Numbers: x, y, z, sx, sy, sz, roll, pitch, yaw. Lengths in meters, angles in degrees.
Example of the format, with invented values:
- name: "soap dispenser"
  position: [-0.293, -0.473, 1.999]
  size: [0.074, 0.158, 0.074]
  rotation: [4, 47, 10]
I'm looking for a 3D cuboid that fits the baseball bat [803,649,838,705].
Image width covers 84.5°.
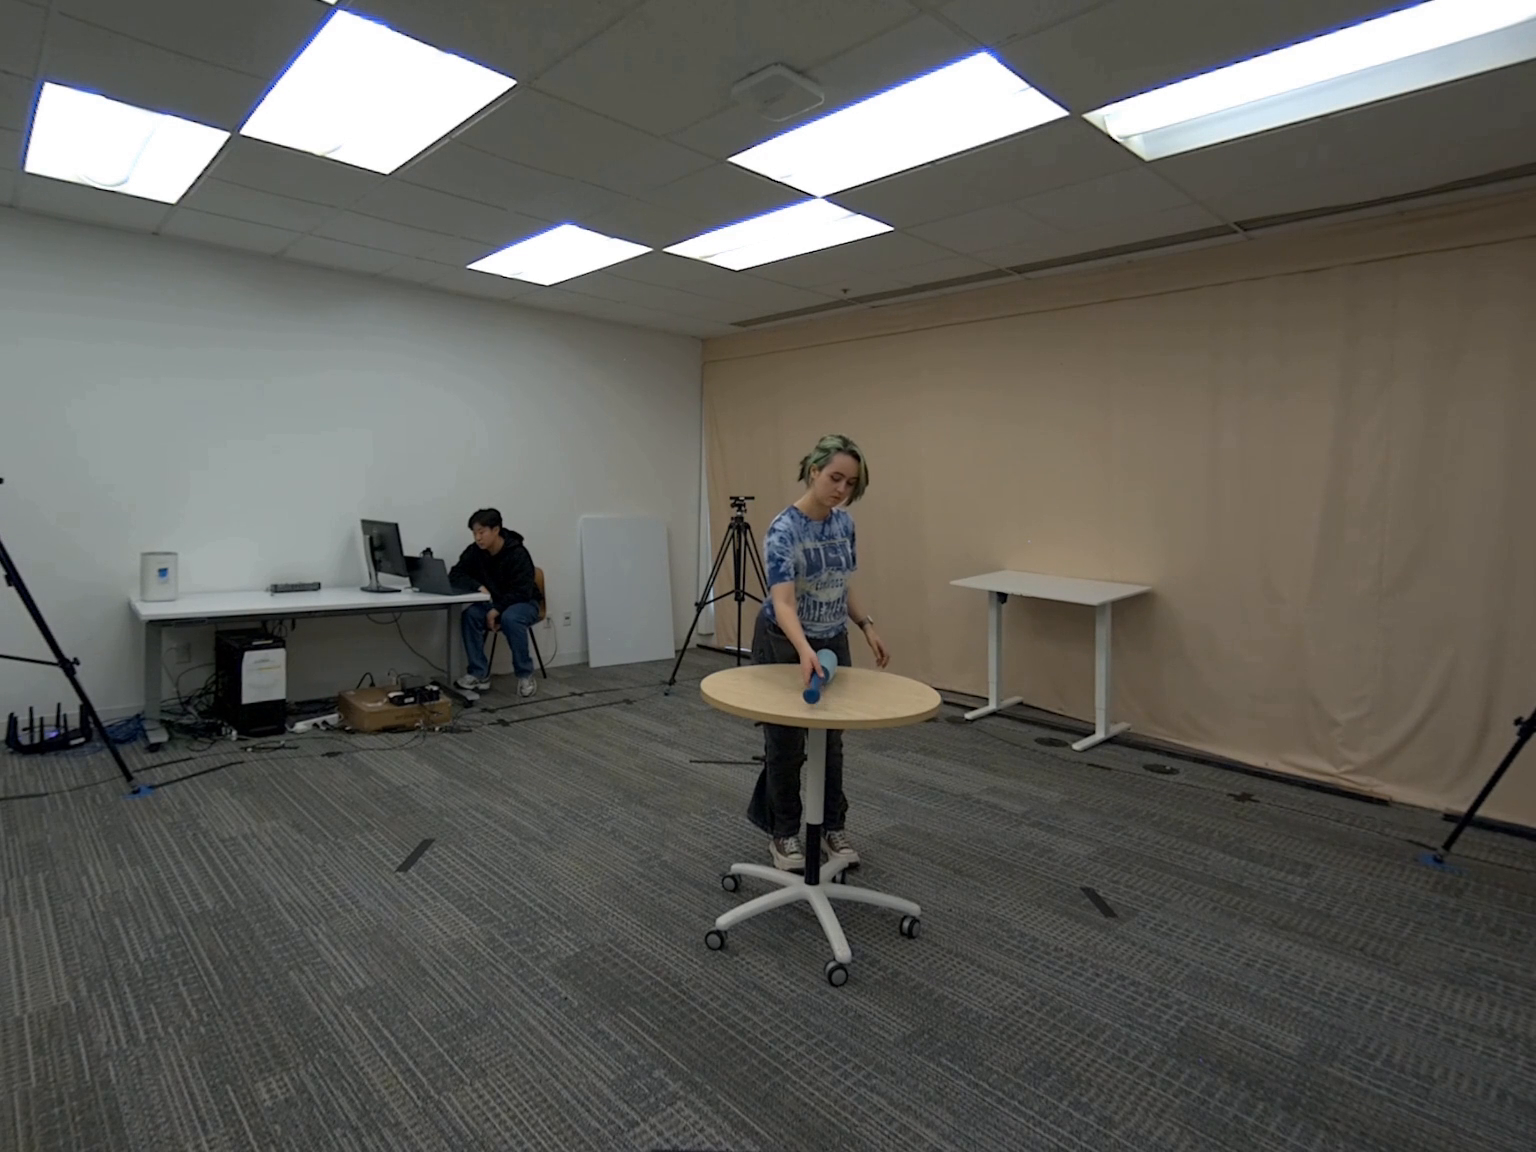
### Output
- name: "baseball bat"
  position: [0.165, 0.318, 2.674]
  size: [0.089, 0.089, 0.542]
  rotation: [2, 5, 5]
